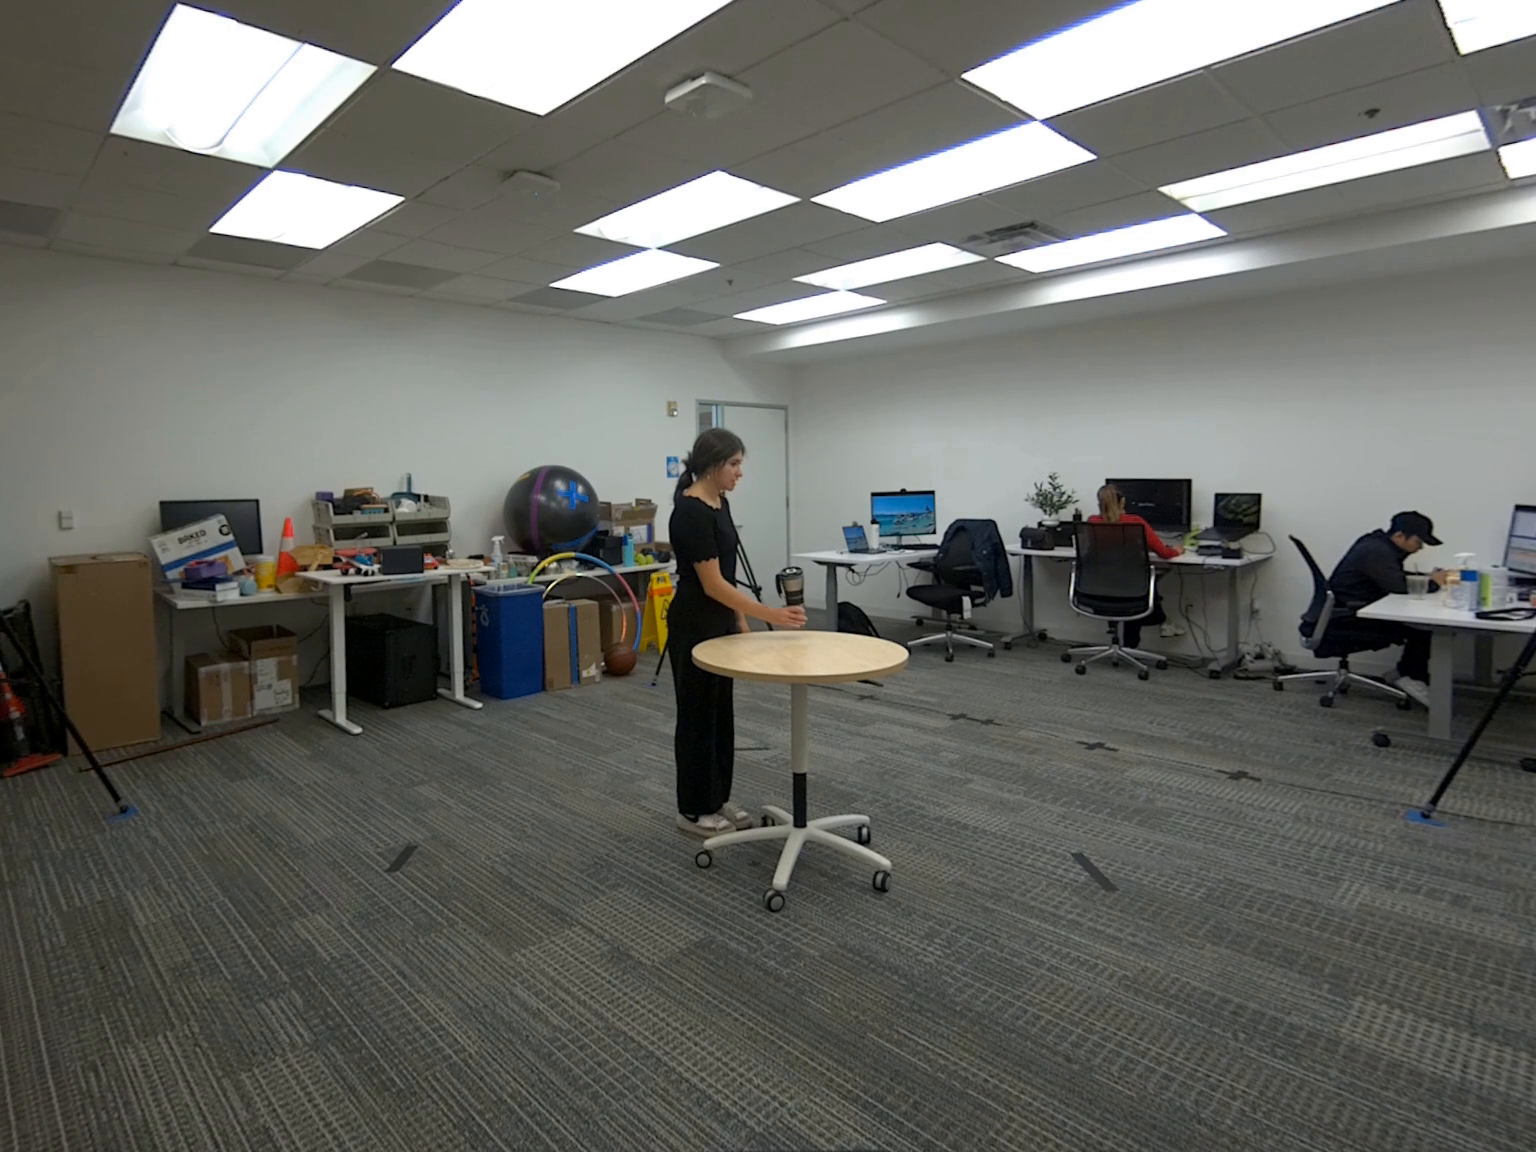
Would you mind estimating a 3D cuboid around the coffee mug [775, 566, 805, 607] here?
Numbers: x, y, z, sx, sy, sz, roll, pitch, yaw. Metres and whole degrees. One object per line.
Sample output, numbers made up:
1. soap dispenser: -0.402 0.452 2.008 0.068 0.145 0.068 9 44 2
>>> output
1. coffee mug: 0.084 0.073 3.271 0.087 0.200 0.126 -14 18 -21
